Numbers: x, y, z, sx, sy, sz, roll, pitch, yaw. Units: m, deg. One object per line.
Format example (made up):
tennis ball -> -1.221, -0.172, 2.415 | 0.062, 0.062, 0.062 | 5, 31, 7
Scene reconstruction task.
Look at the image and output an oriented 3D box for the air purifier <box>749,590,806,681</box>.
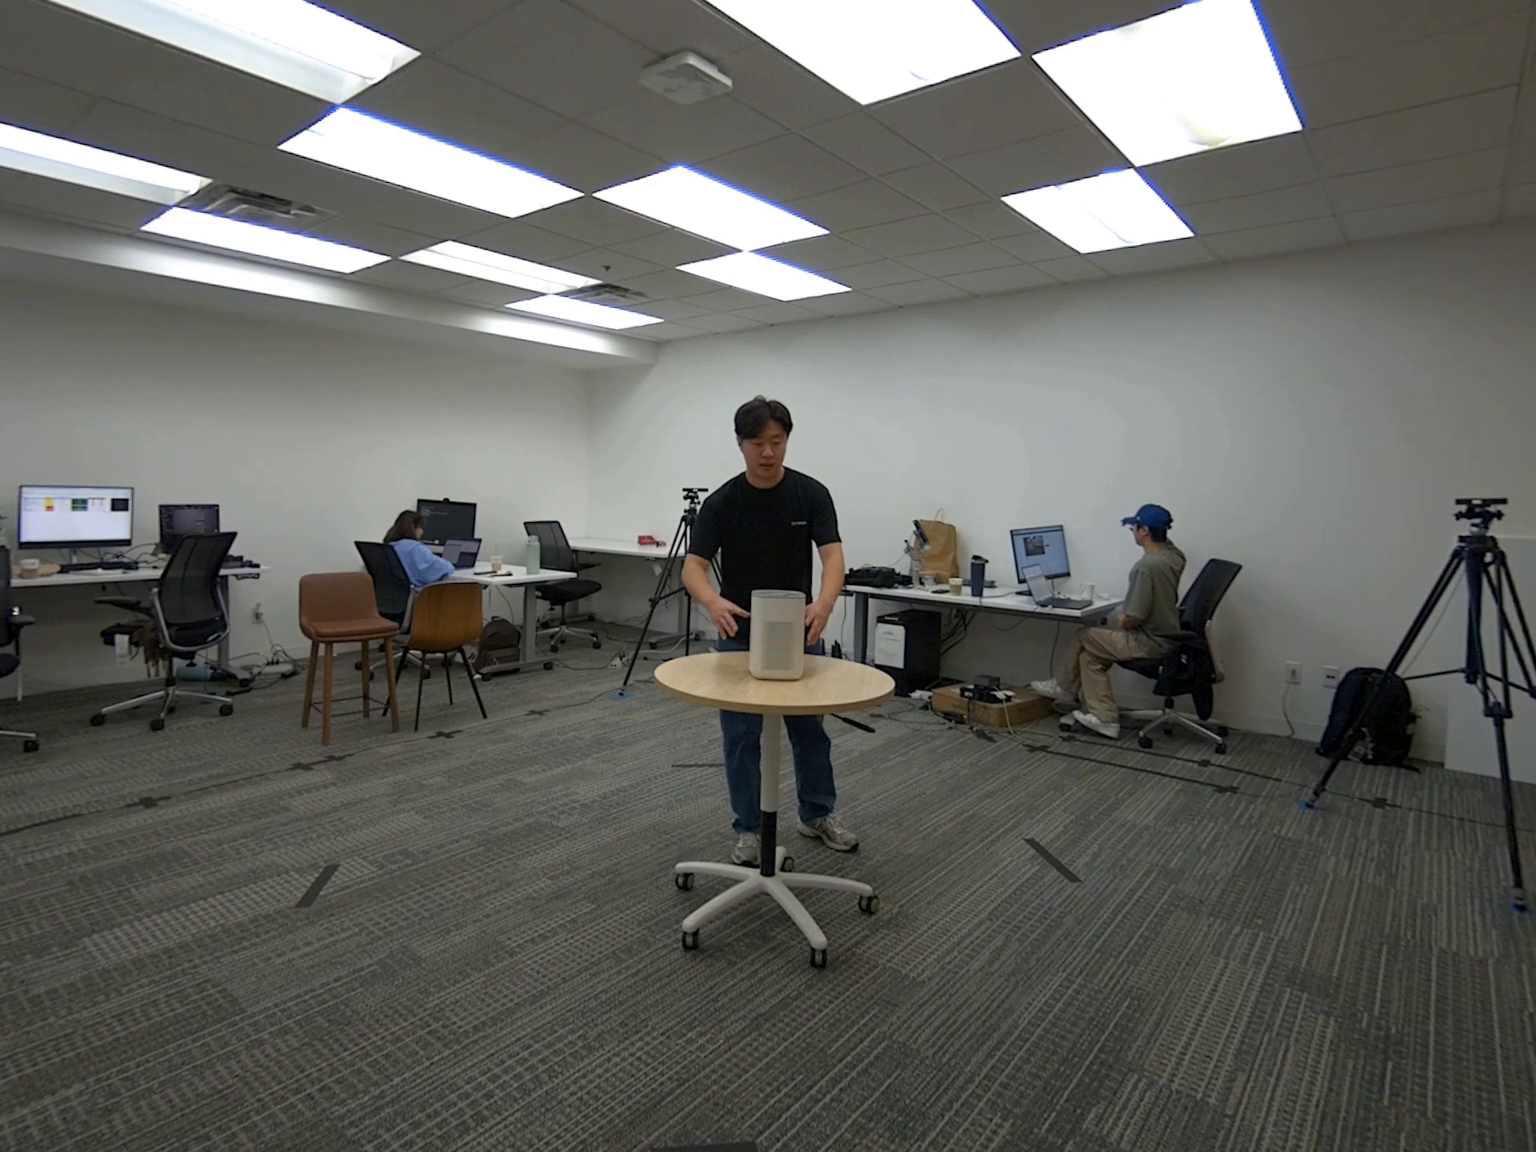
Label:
air purifier -> 0.025, 0.186, 2.723 | 0.171, 0.264, 0.172 | 1, 4, -1
